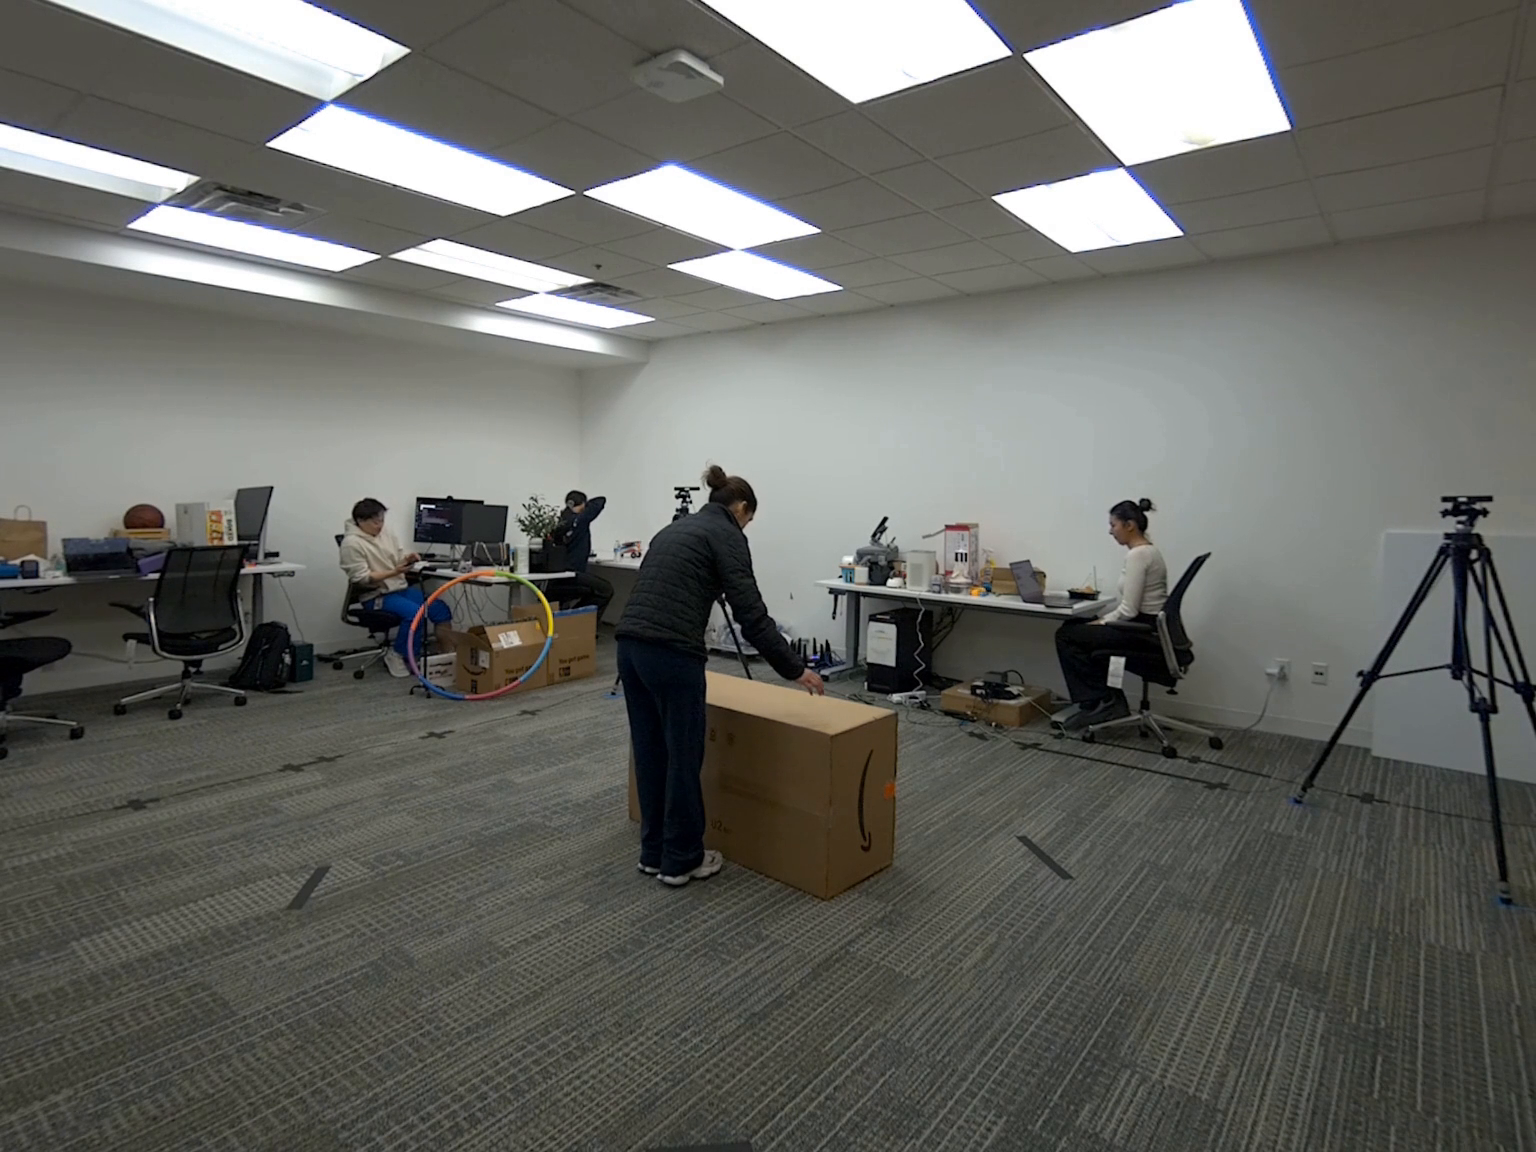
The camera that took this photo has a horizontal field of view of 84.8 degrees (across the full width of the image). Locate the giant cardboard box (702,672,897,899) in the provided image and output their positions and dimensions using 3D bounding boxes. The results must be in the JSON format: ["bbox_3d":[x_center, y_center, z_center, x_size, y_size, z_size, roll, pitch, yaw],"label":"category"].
[{"bbox_3d":[-0.032,0.756,3.371,1.062,0.581,0.433,6,7,43],"label":"giant cardboard box"}]
